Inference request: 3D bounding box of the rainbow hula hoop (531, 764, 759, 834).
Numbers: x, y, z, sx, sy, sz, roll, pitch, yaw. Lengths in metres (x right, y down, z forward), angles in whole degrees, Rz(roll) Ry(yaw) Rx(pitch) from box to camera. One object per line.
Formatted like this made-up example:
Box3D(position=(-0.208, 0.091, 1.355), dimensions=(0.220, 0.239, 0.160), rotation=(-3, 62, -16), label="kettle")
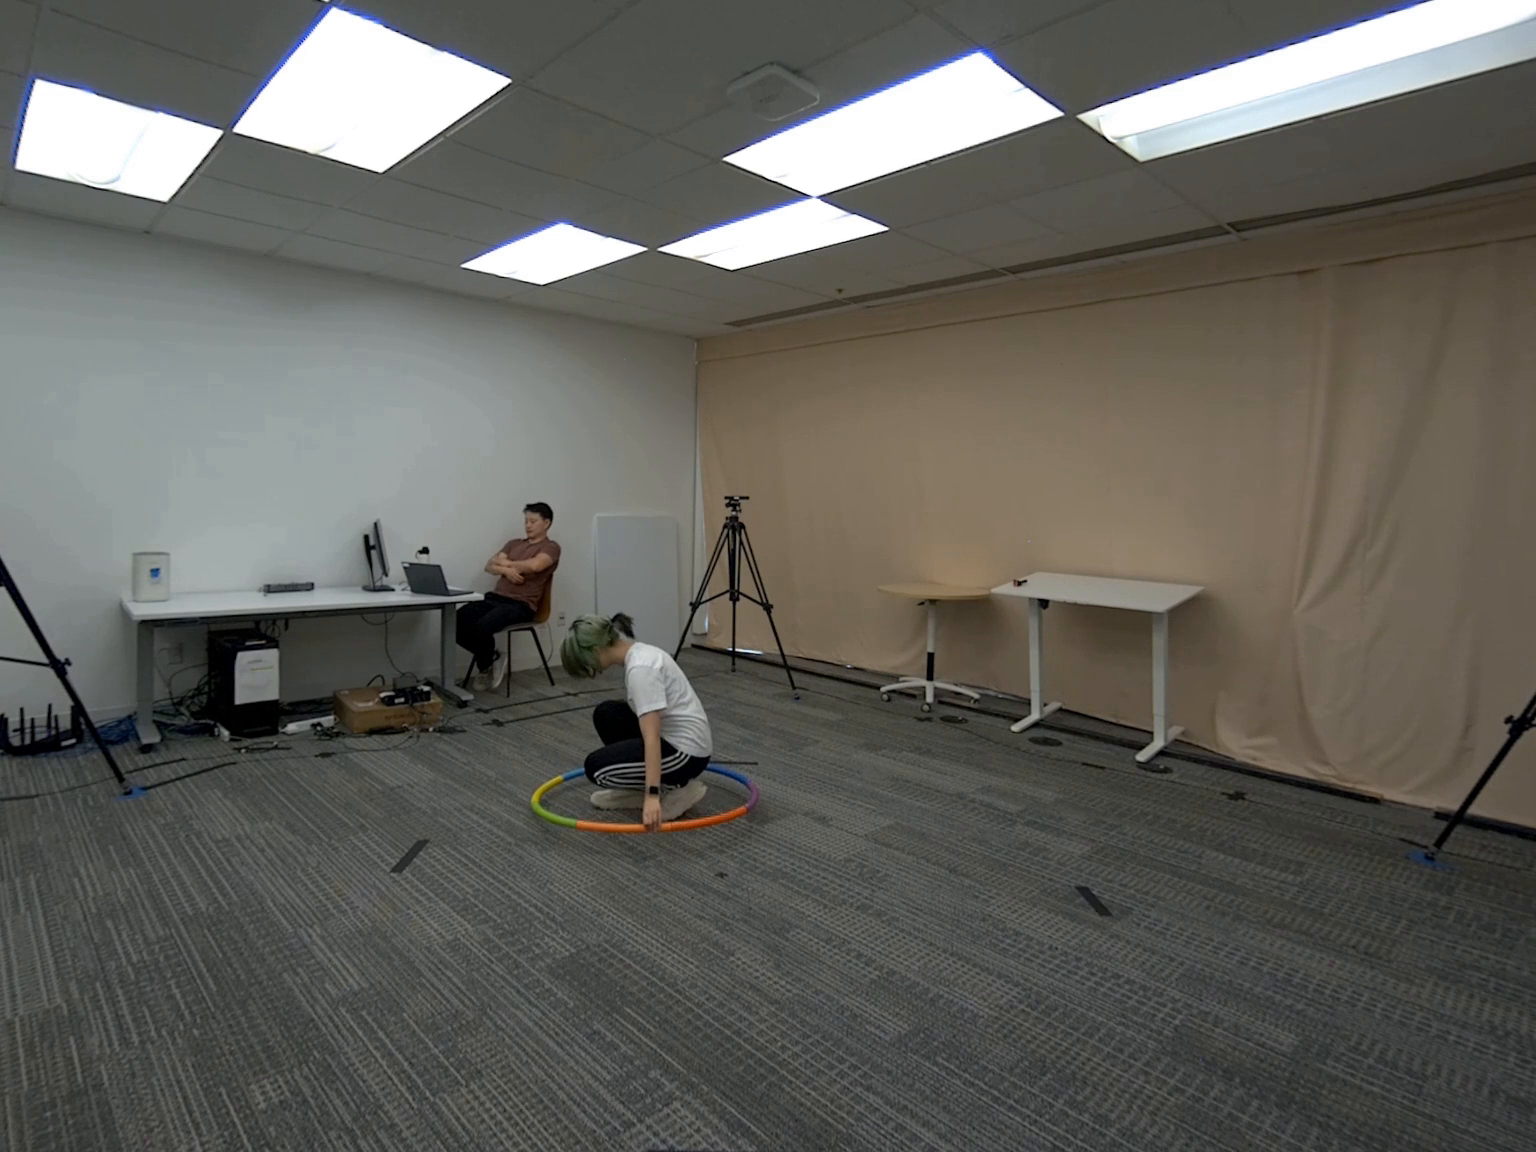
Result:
Box3D(position=(-0.542, 0.953, 3.708), dimensions=(0.985, 0.051, 0.987), rotation=(0, 3, -1), label="rainbow hula hoop")
